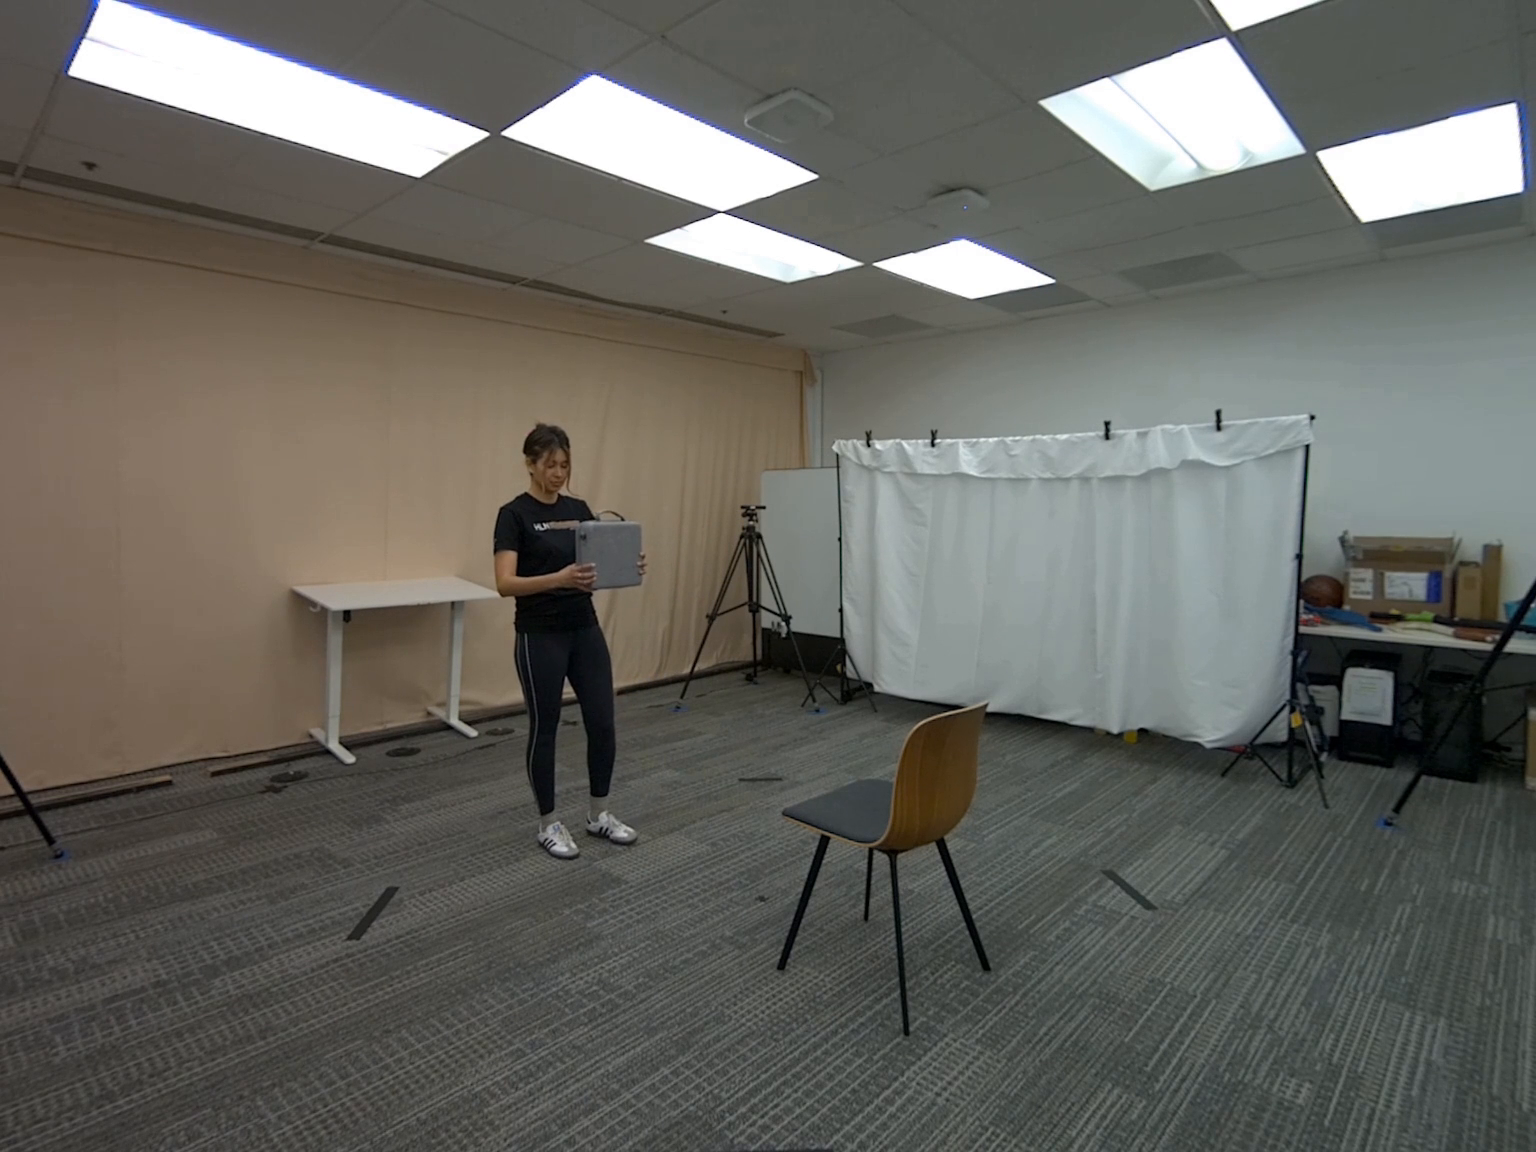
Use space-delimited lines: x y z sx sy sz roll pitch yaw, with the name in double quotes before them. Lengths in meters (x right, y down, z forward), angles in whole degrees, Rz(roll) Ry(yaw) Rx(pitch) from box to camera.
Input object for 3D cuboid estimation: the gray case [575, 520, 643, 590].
"gray case" -0.592 -0.084 3.164 0.108 0.260 0.249 4 7 44
